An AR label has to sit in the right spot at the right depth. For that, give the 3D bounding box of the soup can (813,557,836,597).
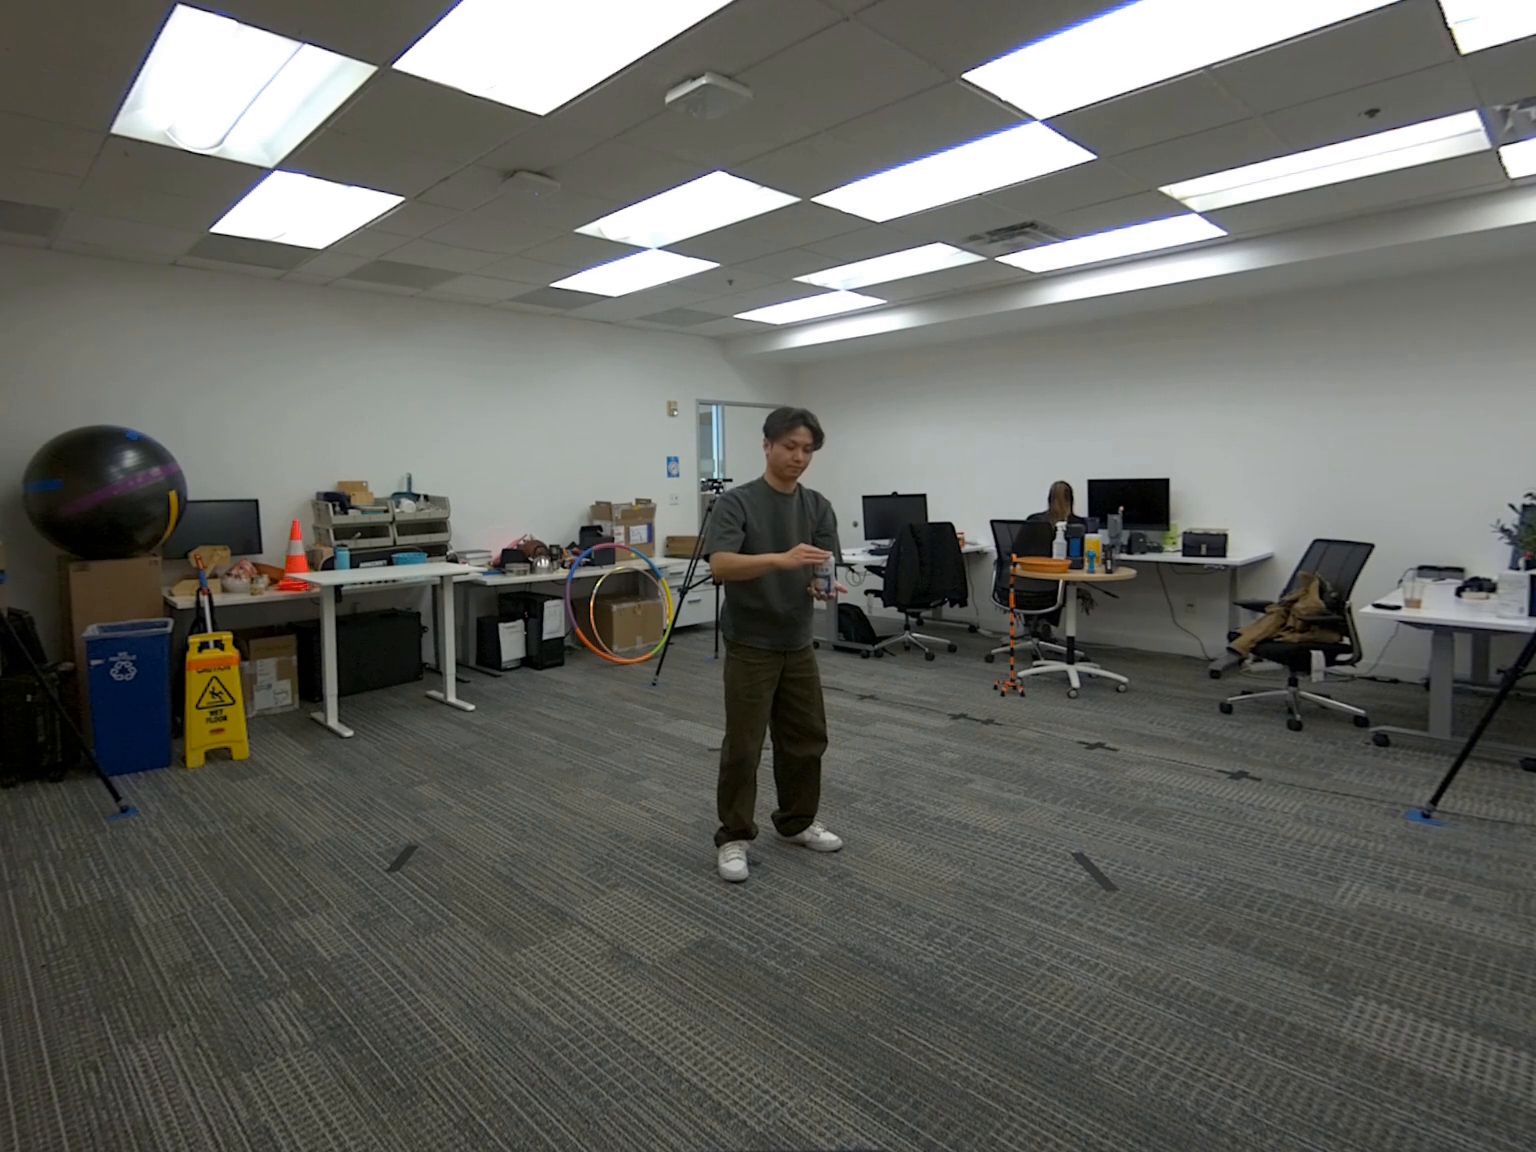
[{"bbox_3d":[0.174,0.000,2.764,0.067,0.120,0.068,0,12,-2],"label":"soup can"}]
